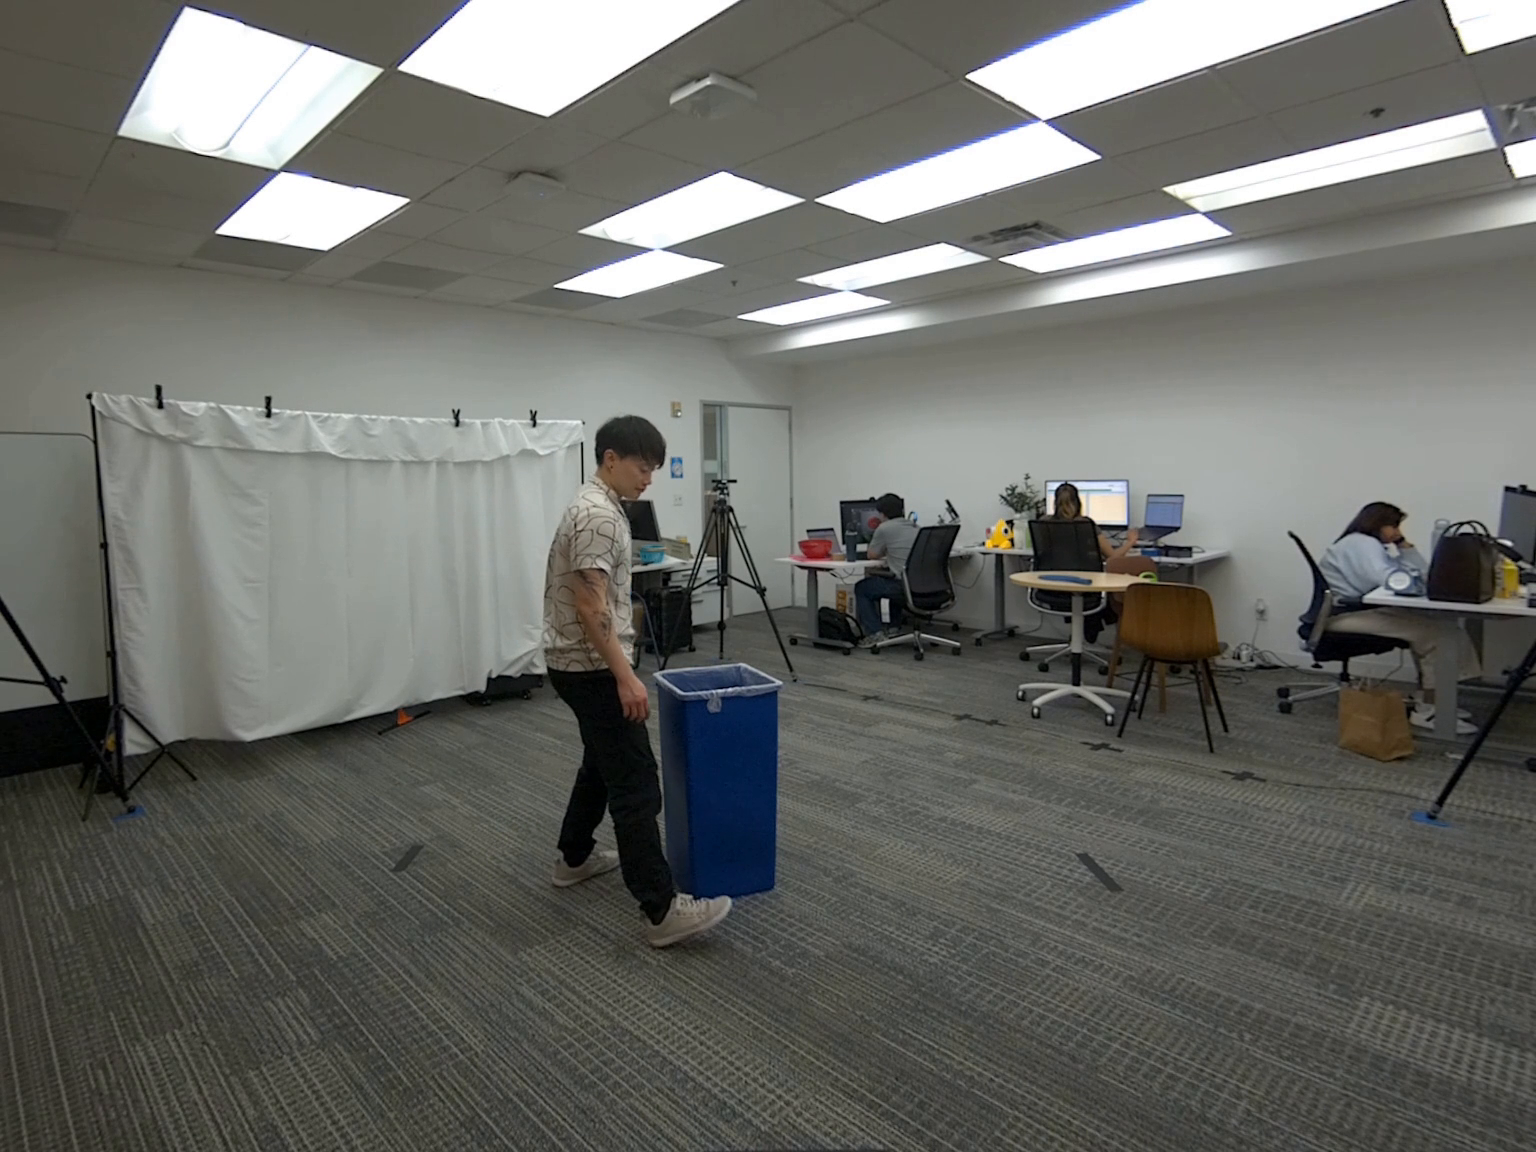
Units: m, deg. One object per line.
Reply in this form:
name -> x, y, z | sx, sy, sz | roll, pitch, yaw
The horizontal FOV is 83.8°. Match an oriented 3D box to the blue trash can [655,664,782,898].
blue trash can -> -0.172, 0.703, 2.988 | 0.367, 0.711, 0.387 | -3, 4, -23
